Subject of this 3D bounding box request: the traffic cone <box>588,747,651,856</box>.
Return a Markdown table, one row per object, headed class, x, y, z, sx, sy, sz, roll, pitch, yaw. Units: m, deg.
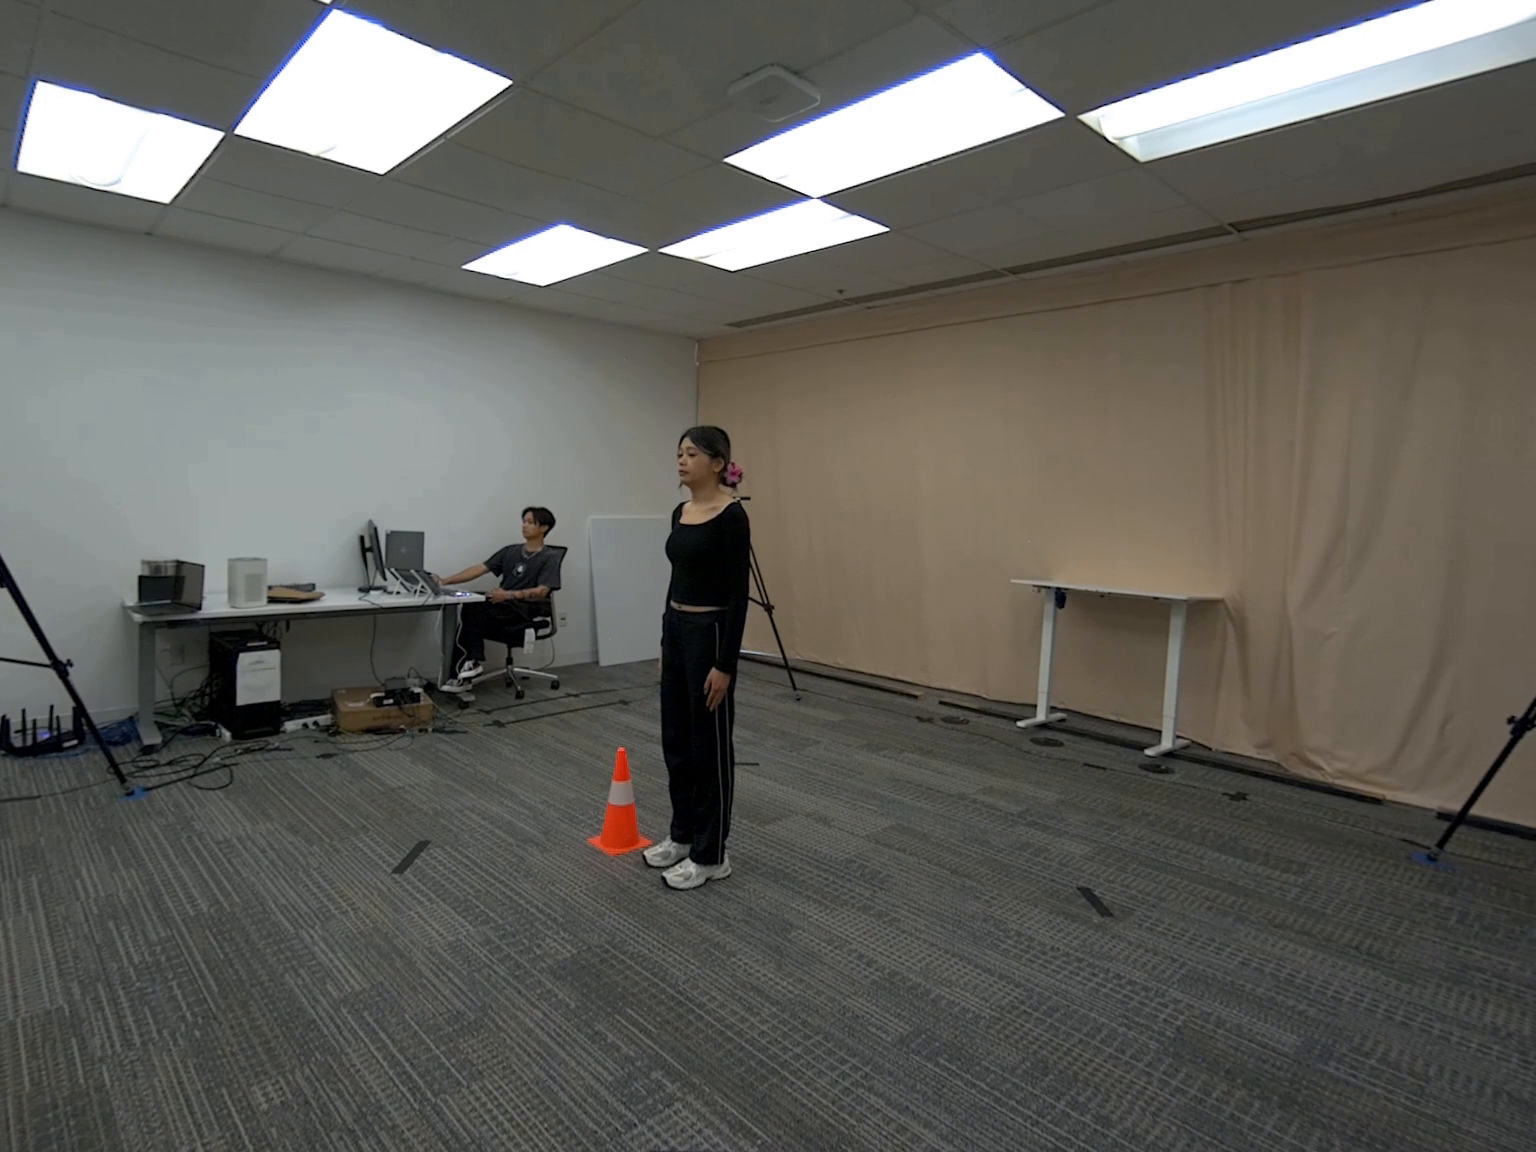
| class | x | y | z | sx | sy | sz | roll | pitch | yaw |
| --- | --- | --- | --- | --- | --- | --- | --- | --- | --- |
| traffic cone | -0.600 | 0.883 | 3.380 | 0.201 | 0.383 | 0.207 | 0 | 2 | -28 |
